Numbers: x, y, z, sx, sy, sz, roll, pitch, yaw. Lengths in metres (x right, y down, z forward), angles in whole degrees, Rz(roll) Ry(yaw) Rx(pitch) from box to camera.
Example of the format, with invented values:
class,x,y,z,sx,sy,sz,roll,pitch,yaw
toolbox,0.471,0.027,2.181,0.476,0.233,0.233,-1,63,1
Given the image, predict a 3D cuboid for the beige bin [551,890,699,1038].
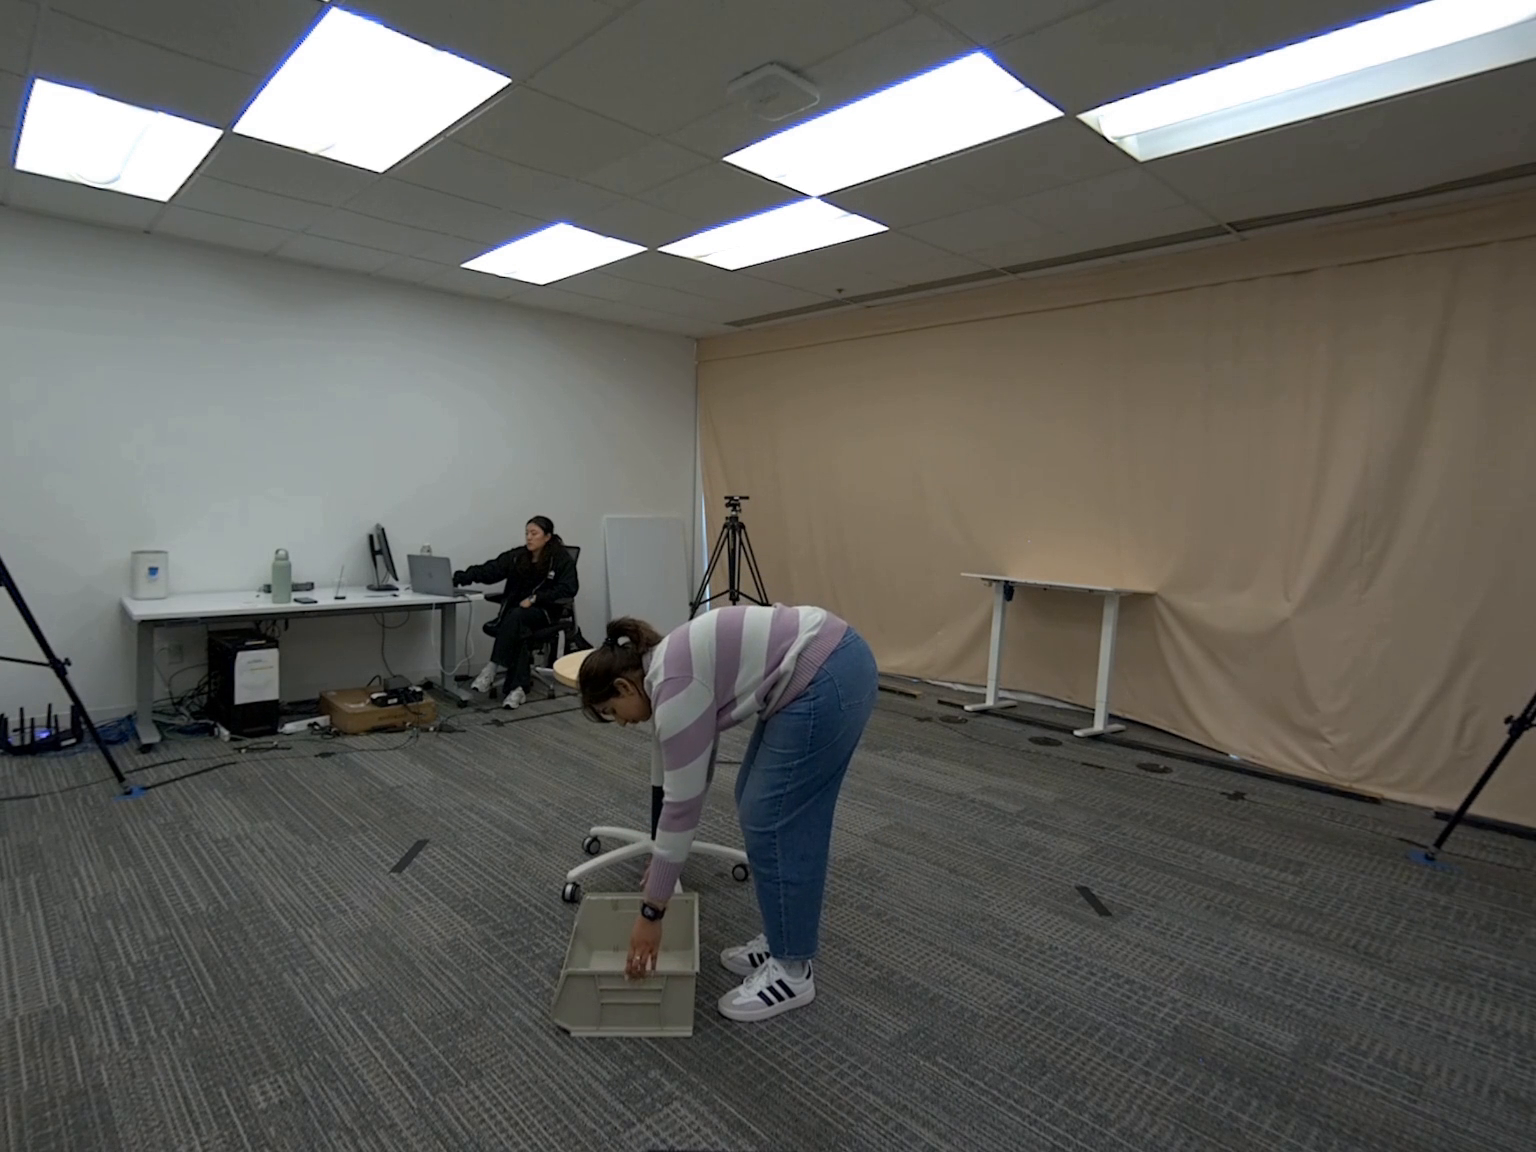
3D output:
class,x,y,z,sx,sy,sz,roll,pitch,yaw
beige bin,-0.390,1.072,2.361,0.376,0.188,0.424,2,4,-4
